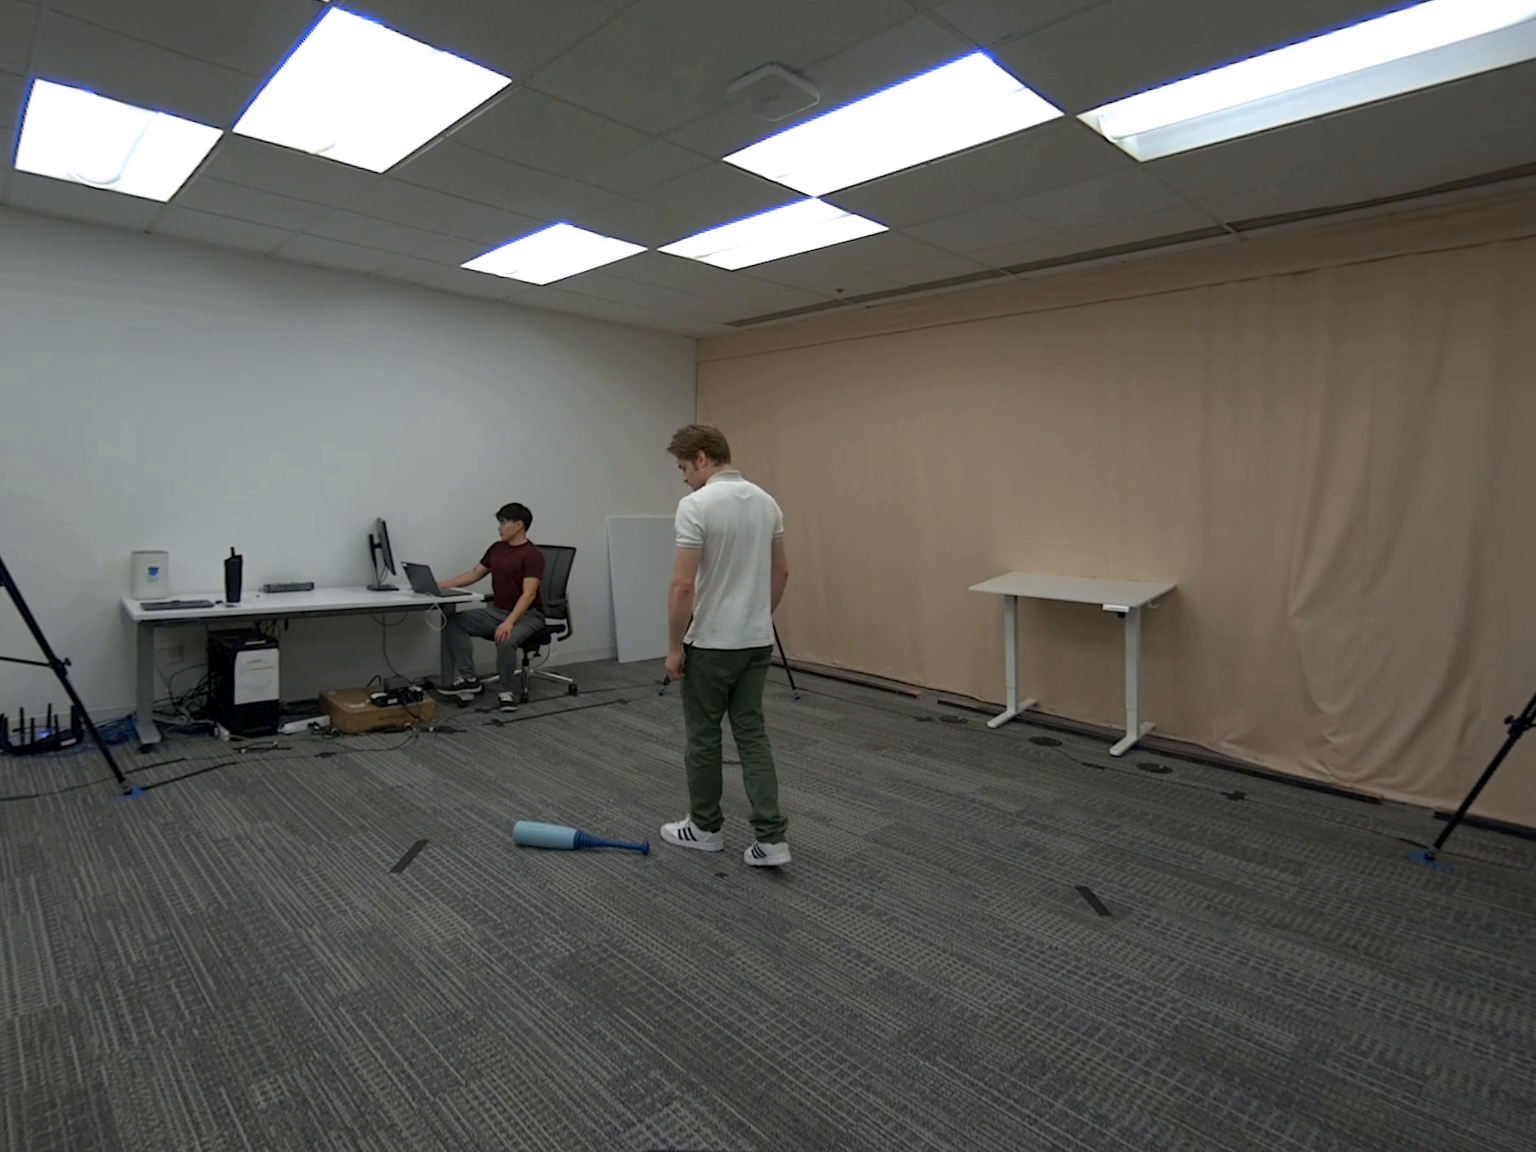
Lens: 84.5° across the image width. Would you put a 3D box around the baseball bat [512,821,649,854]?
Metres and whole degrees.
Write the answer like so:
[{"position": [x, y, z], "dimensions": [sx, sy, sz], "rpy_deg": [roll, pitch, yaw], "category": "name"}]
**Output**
[{"position": [-0.735, 1.036, 3.298], "dimensions": [0.546, 0.089, 0.089], "rpy_deg": [5, 5, 7], "category": "baseball bat"}]
